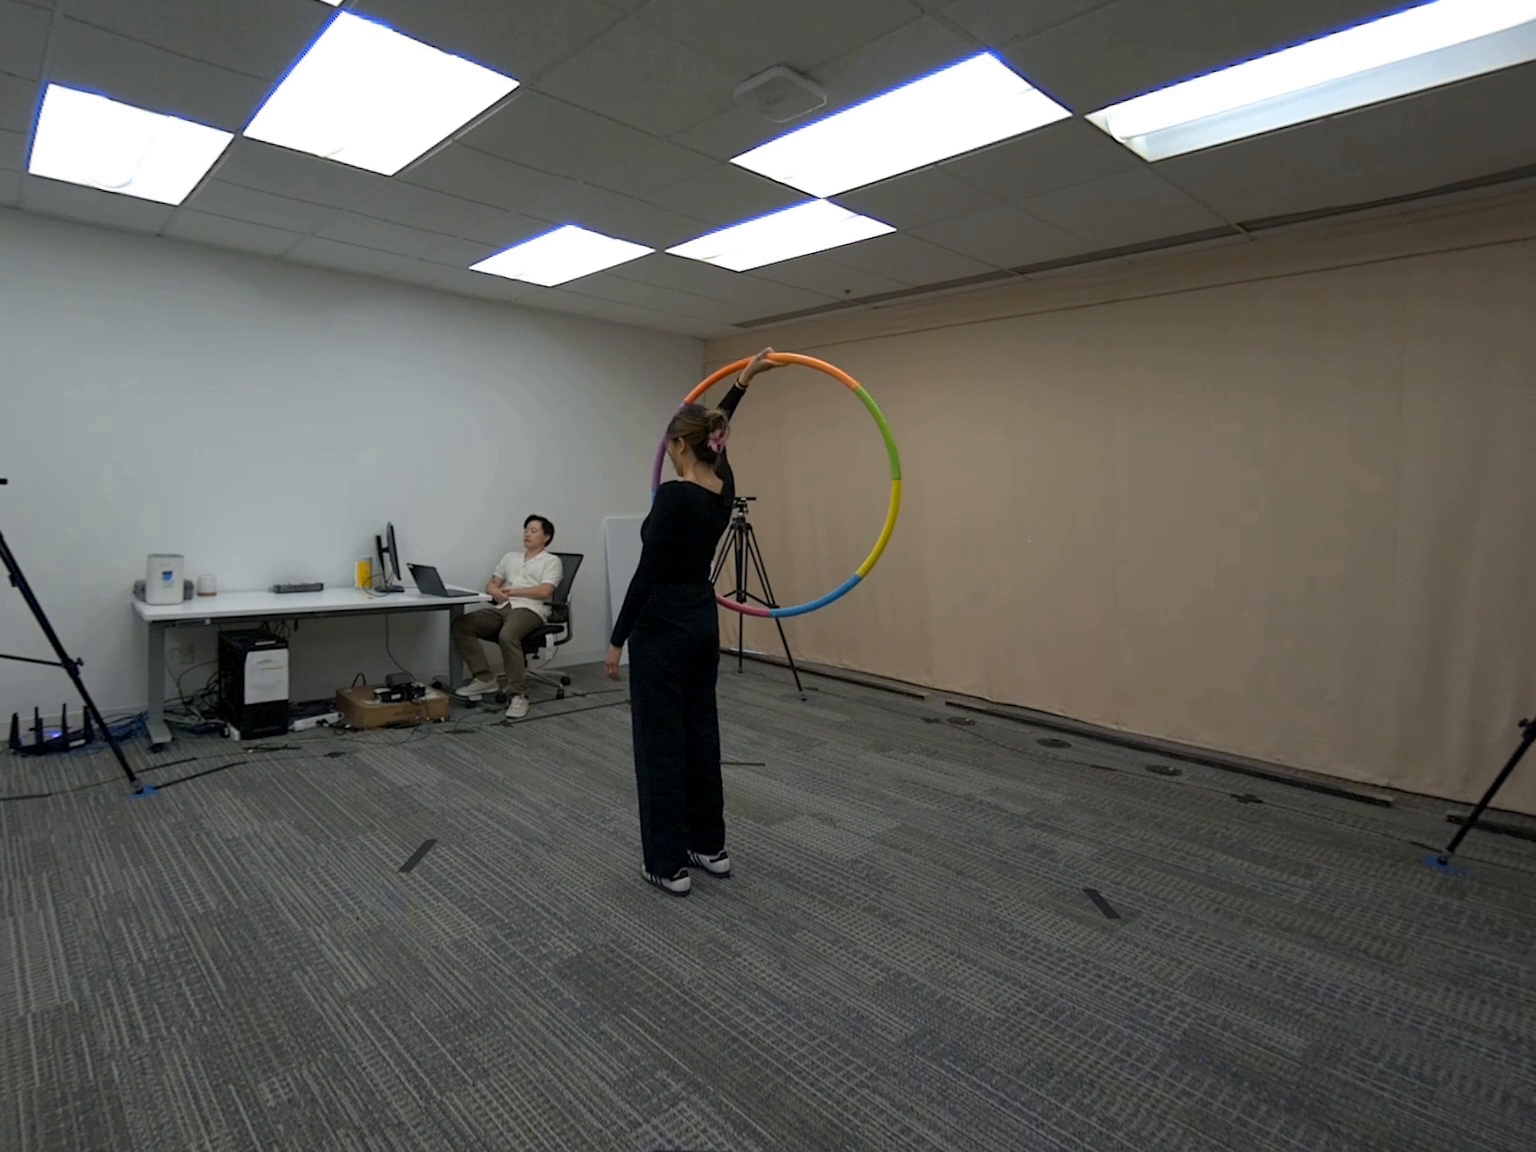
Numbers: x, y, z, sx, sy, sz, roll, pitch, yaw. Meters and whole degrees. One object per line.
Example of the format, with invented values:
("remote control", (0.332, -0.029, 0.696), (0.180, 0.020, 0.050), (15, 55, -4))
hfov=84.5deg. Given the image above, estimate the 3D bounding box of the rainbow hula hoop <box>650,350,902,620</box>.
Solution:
("rainbow hula hoop", (0.005, -0.340, 3.169), (1.001, 0.986, 0.051), (3, -1, 20))
